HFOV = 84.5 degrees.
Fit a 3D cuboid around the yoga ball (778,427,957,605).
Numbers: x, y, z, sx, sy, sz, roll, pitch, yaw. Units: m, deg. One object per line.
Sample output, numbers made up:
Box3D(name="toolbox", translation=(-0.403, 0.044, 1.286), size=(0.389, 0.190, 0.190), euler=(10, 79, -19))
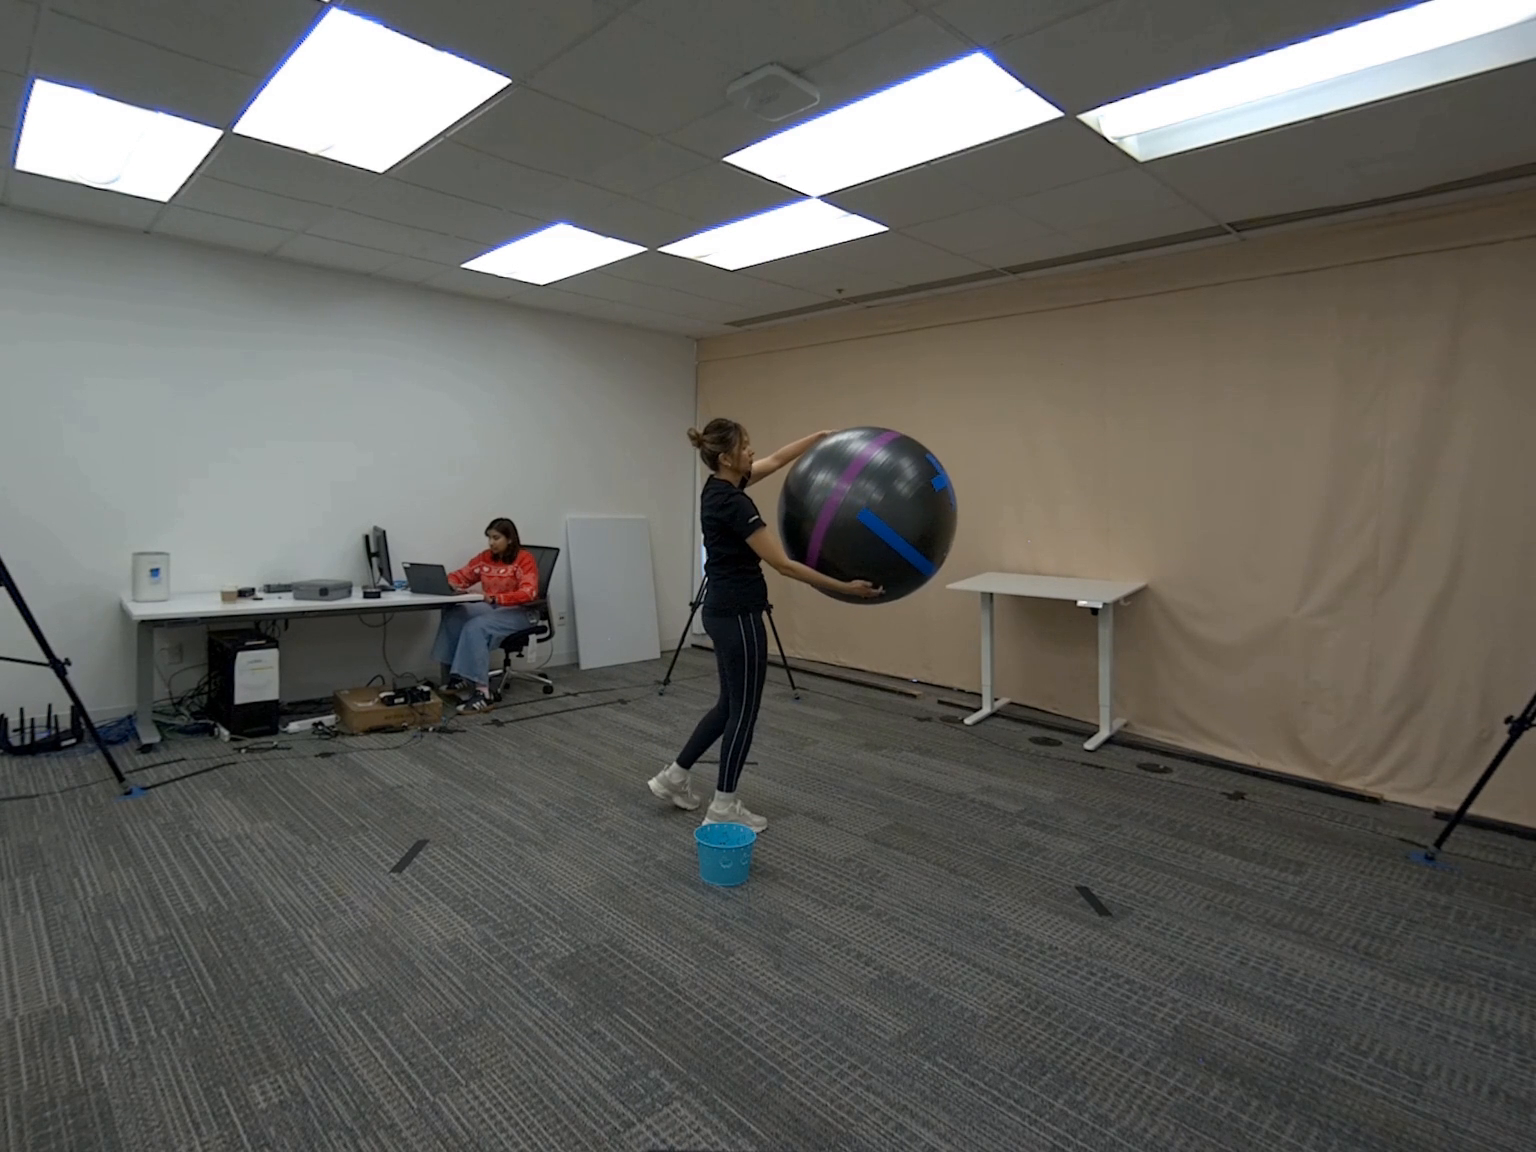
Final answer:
Box3D(name="yoga ball", translation=(0.416, -0.257, 3.601), size=(0.757, 0.756, 0.761), euler=(1, 4, -1))
